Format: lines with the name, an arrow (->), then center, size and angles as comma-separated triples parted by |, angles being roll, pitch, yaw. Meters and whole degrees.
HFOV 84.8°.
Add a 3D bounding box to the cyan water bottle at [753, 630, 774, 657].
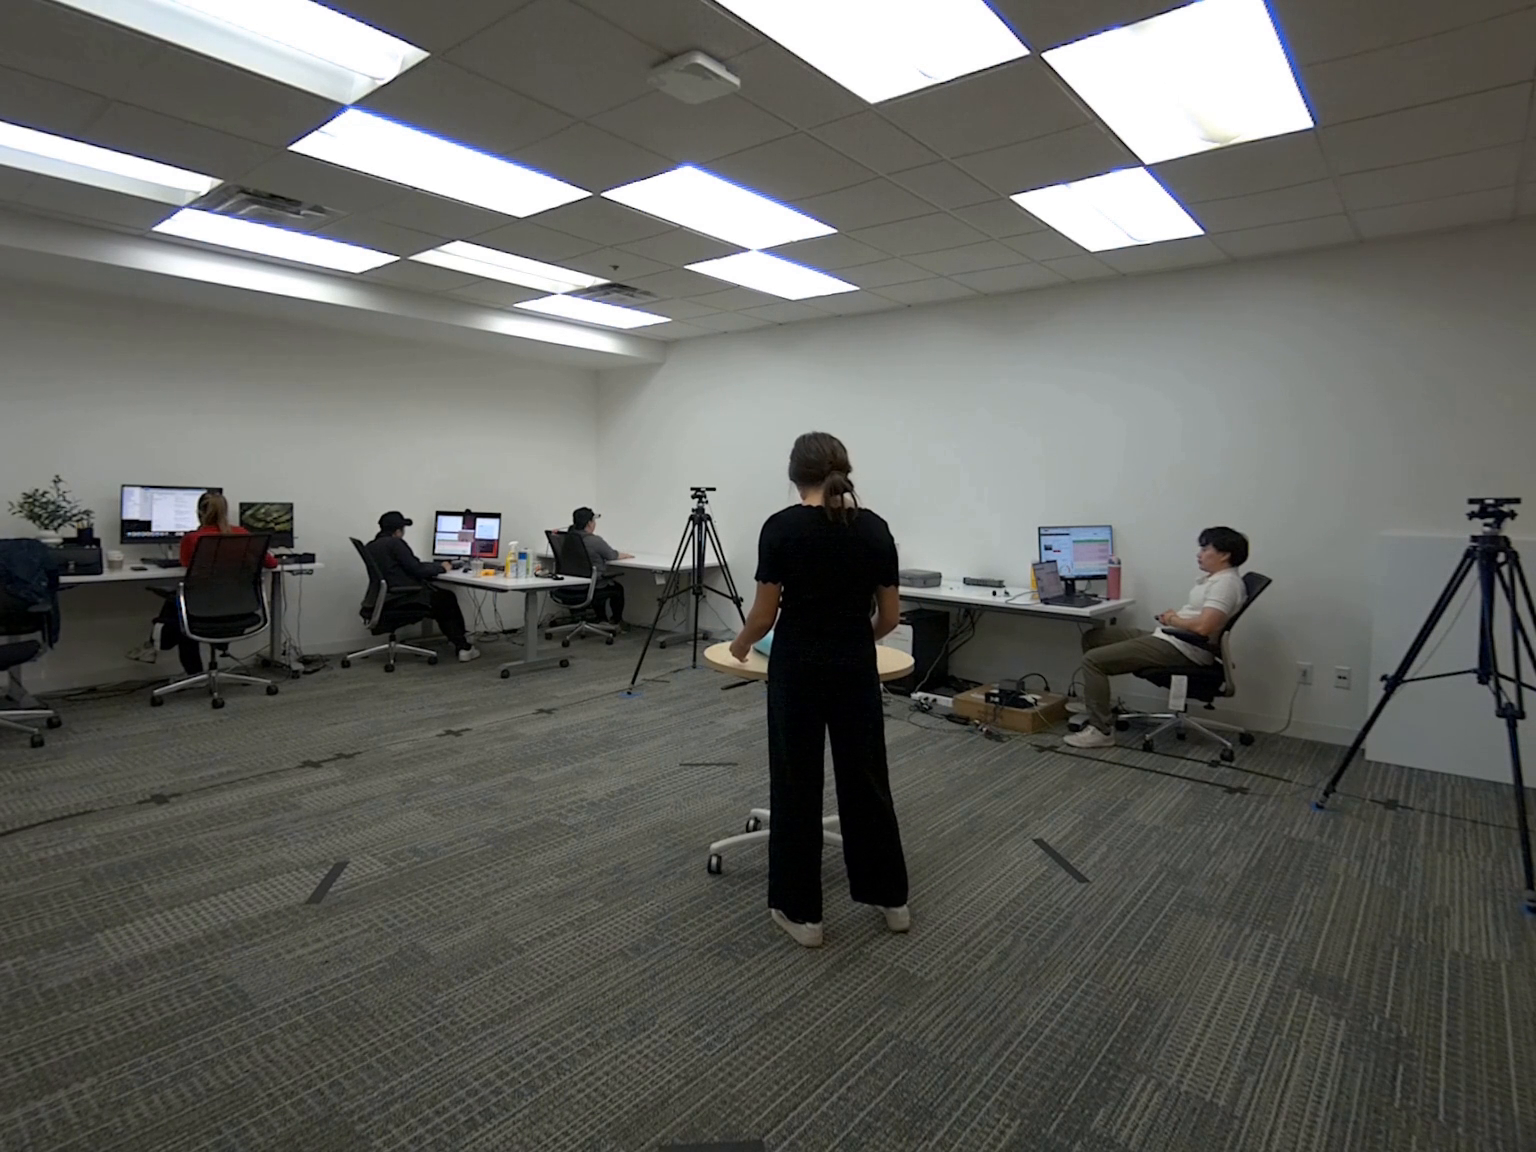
cyan water bottle -> -0.006, 0.238, 3.098 | 0.090, 0.092, 0.290 | 0, 6, -19
